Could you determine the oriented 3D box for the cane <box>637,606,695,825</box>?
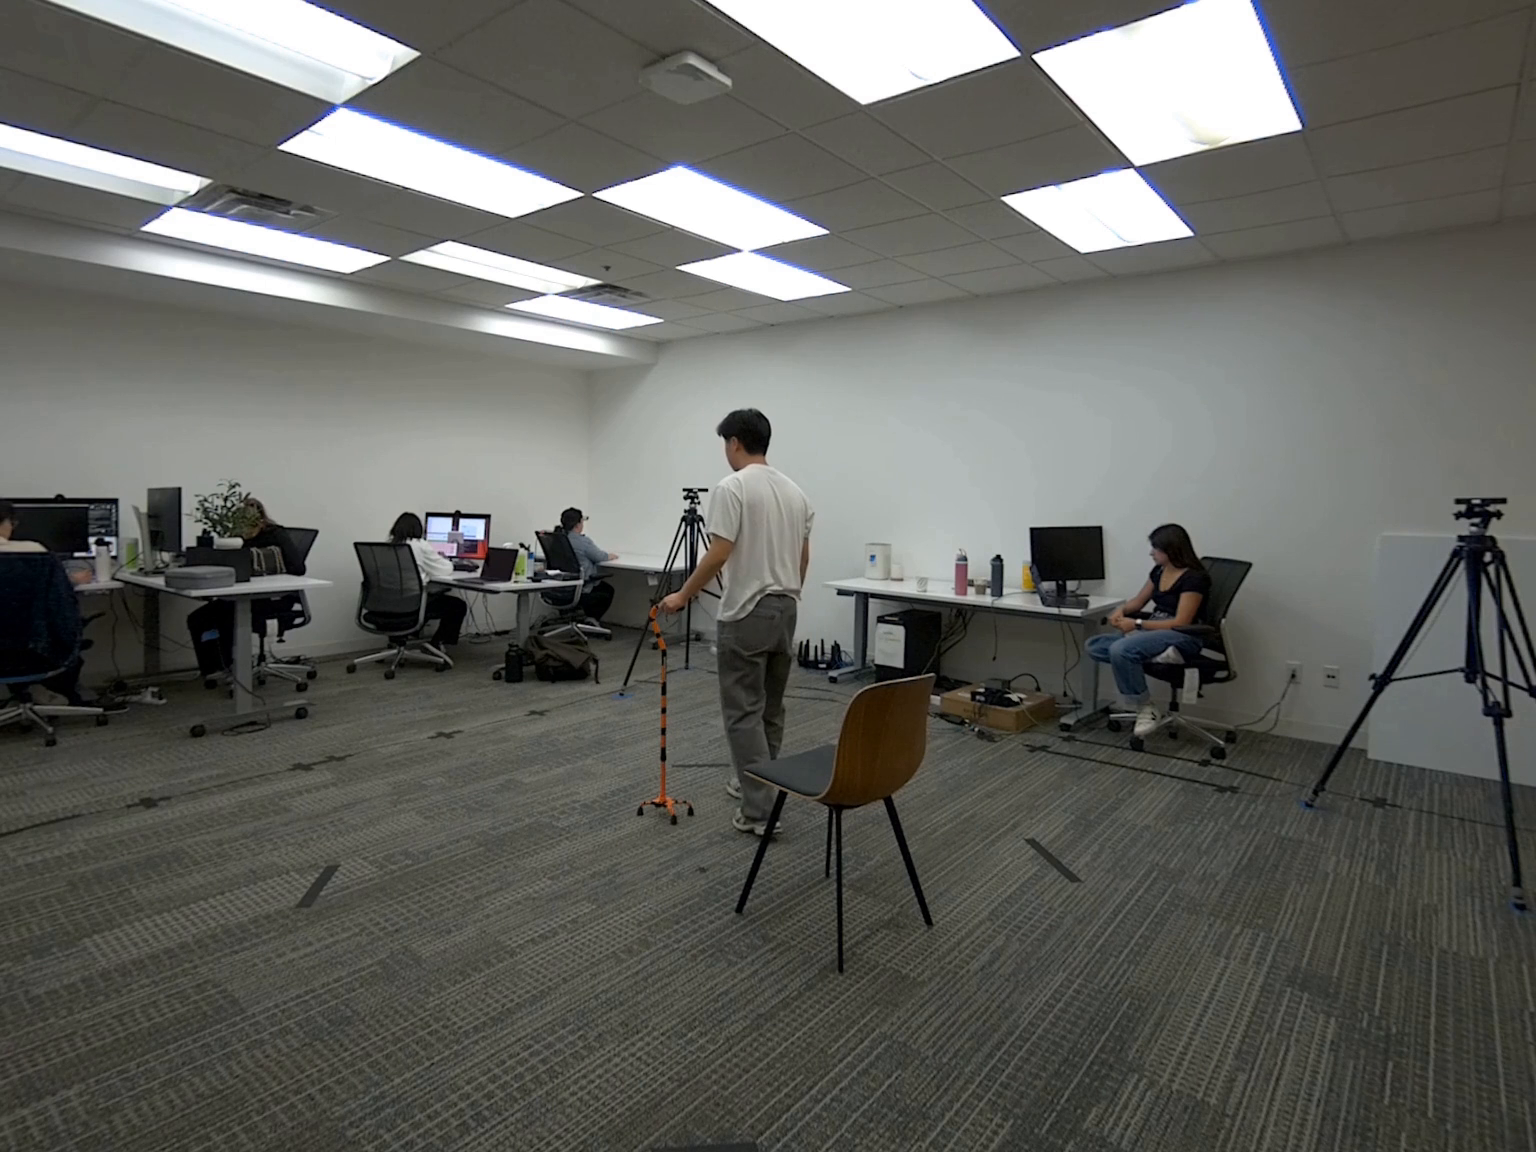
[{"bbox_3d":[-0.438,0.561,3.618,0.213,0.906,0.147,2,3,32],"label":"cane"}]
